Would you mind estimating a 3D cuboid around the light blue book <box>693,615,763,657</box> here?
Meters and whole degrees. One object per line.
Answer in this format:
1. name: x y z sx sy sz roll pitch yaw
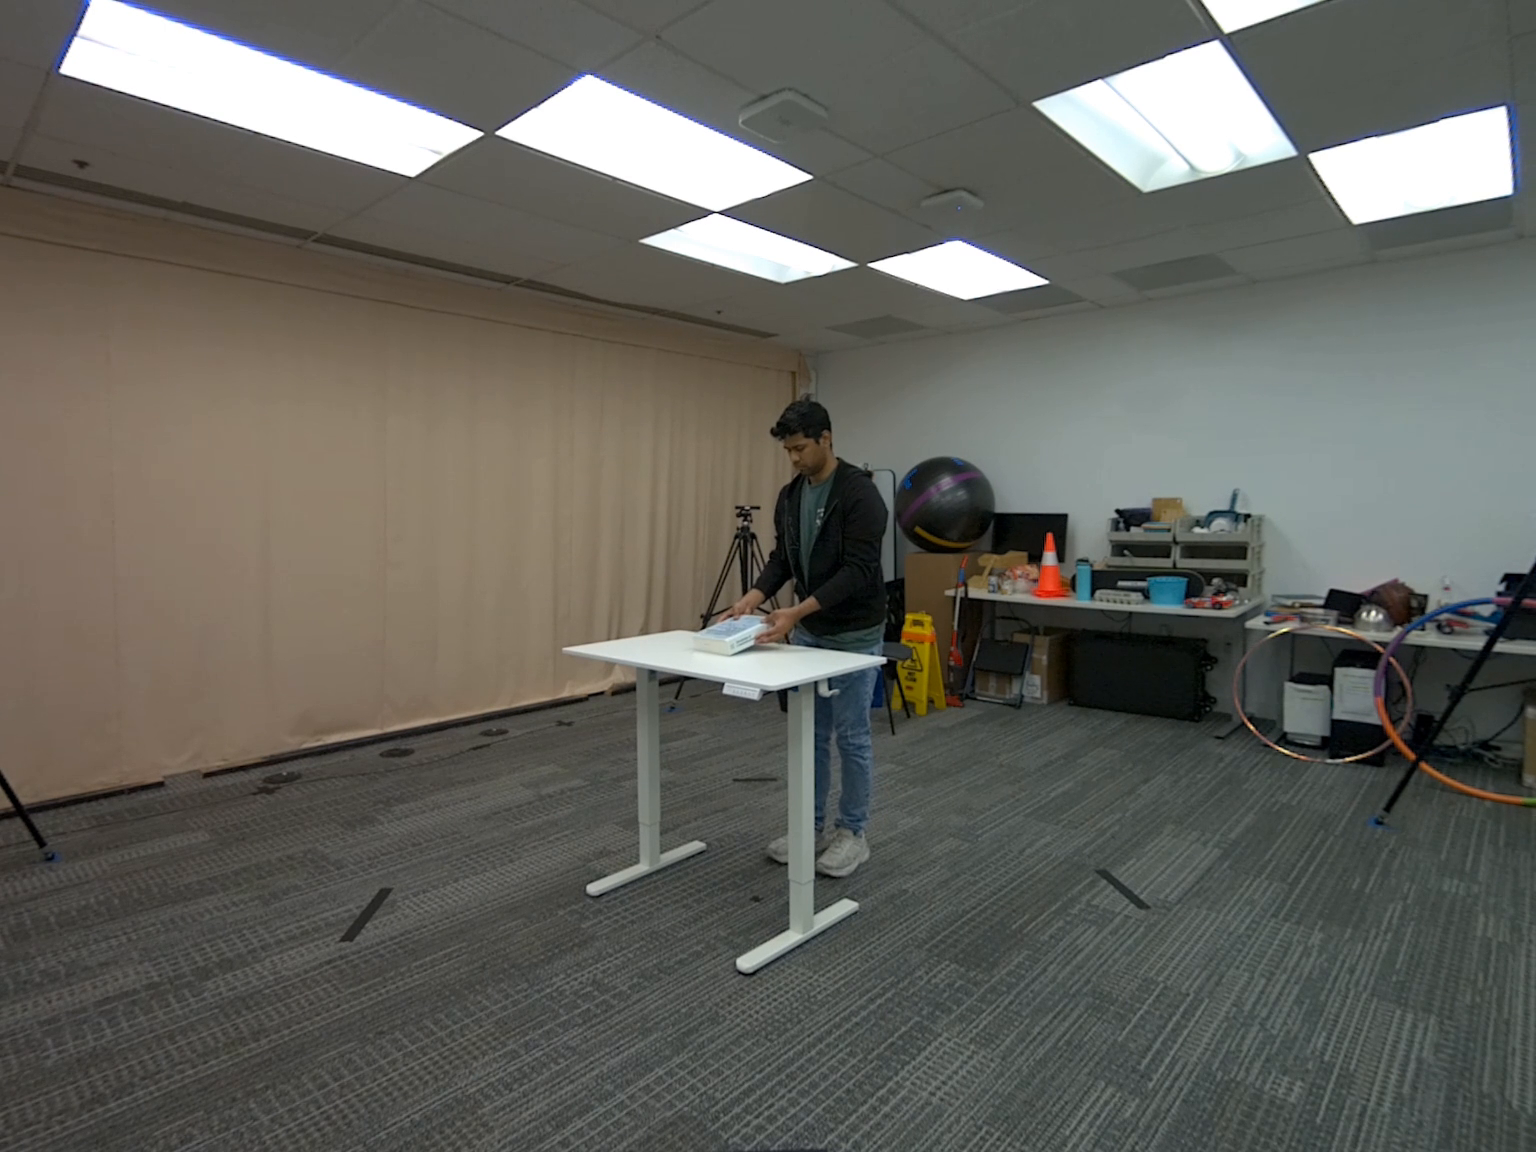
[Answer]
1. light blue book: -0.127 0.216 2.998 0.198 0.058 0.254 5 16 45
